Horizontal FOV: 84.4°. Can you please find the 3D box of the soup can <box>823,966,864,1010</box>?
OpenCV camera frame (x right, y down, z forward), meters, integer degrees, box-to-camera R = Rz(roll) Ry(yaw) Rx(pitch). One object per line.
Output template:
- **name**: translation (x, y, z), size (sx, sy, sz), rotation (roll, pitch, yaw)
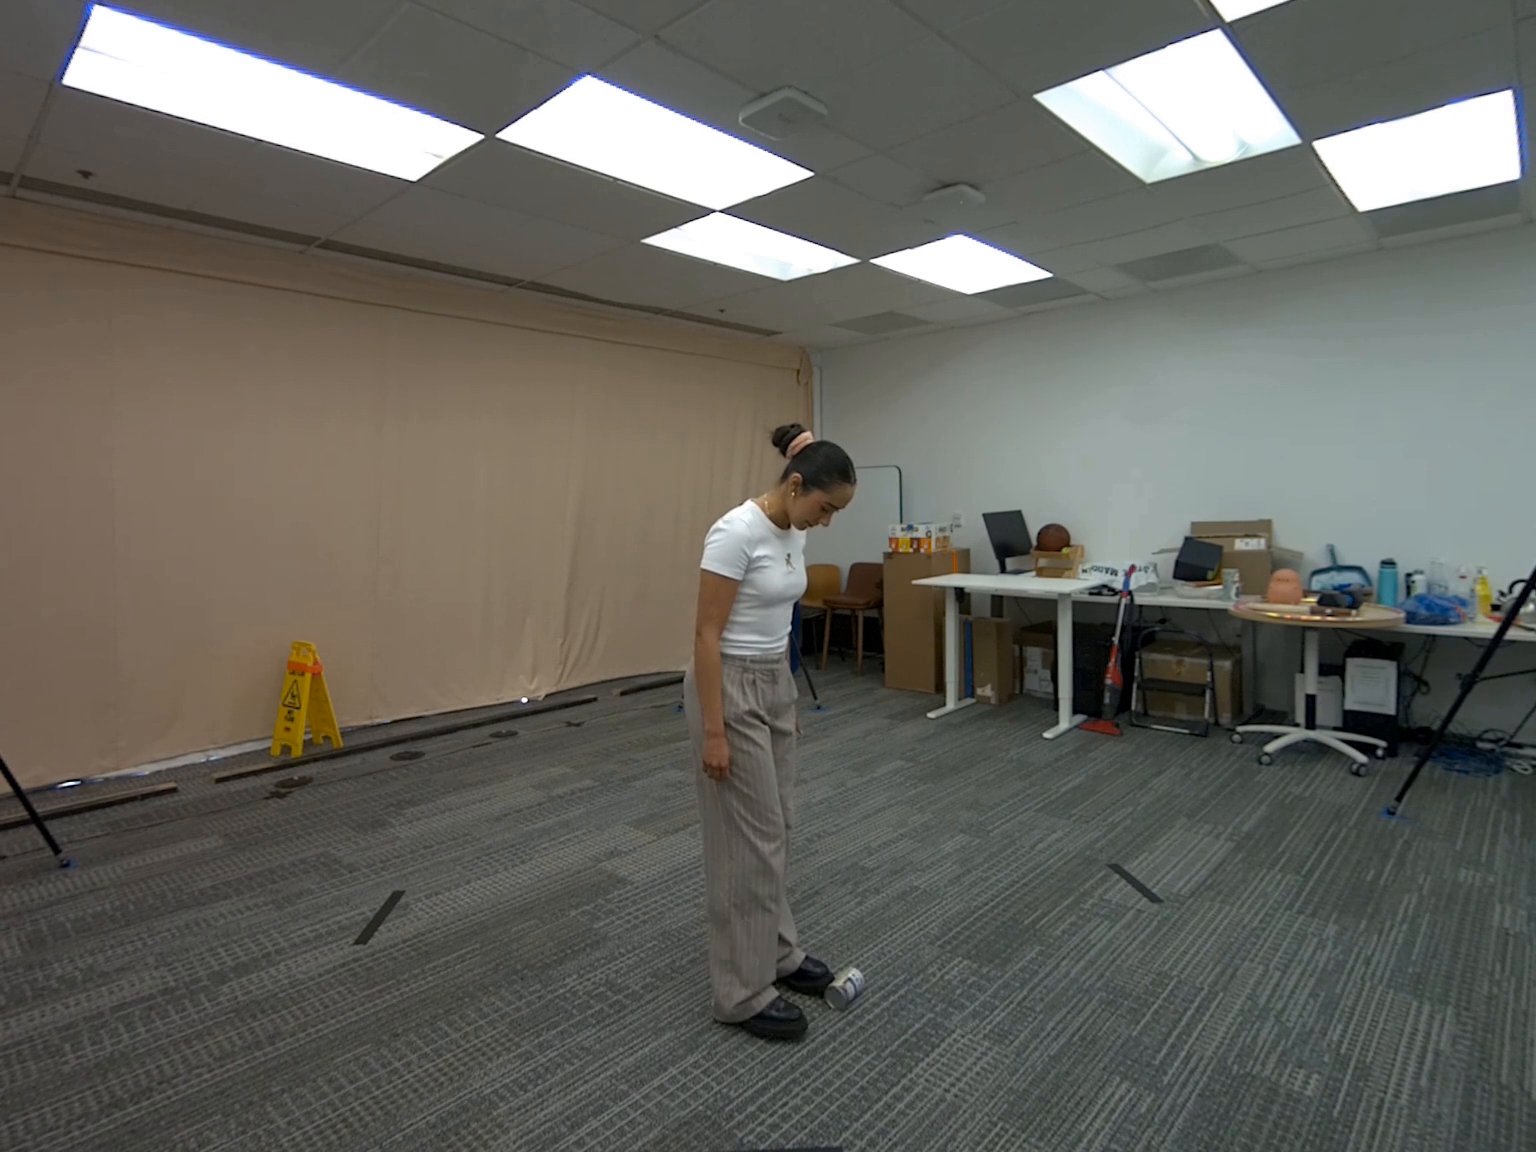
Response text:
- **soup can**: translation (0.216, 1.155, 2.350), size (0.069, 0.067, 0.118), rotation (2, 3, 40)
